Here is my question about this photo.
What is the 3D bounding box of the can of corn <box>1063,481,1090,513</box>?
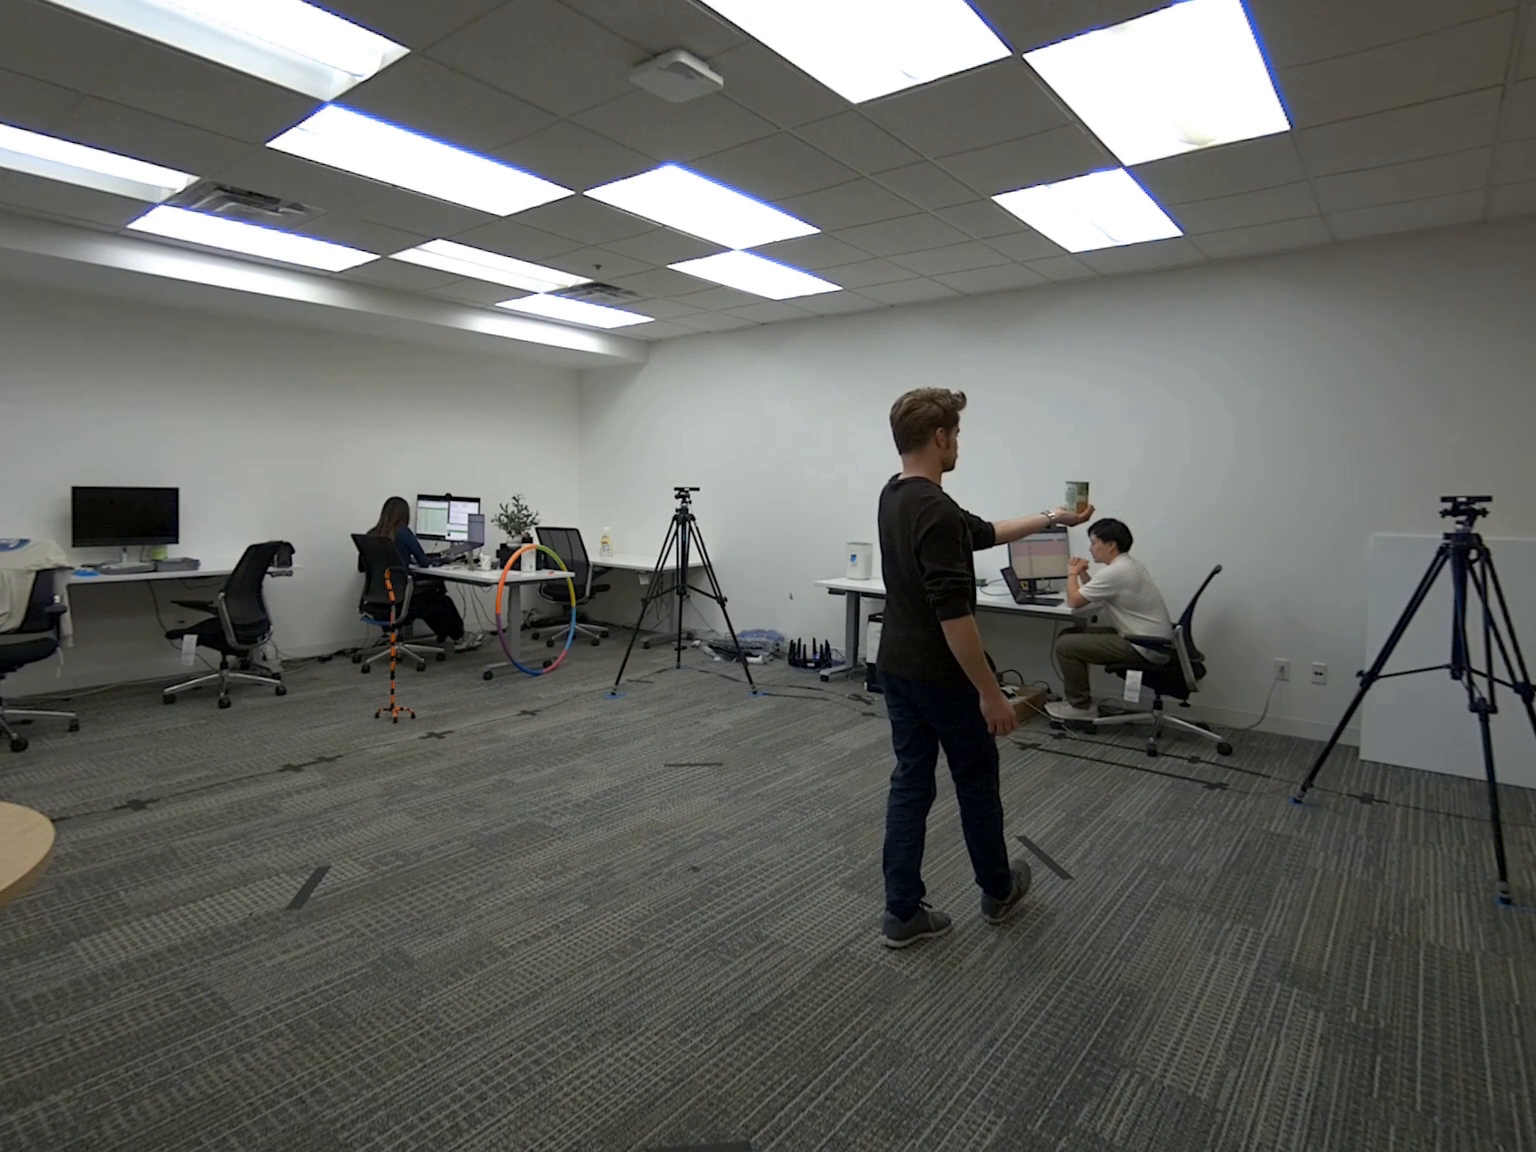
[{"bbox_3d":[1.050,-0.267,2.893,0.074,0.110,0.075,0,5,-2],"label":"can of corn"}]
